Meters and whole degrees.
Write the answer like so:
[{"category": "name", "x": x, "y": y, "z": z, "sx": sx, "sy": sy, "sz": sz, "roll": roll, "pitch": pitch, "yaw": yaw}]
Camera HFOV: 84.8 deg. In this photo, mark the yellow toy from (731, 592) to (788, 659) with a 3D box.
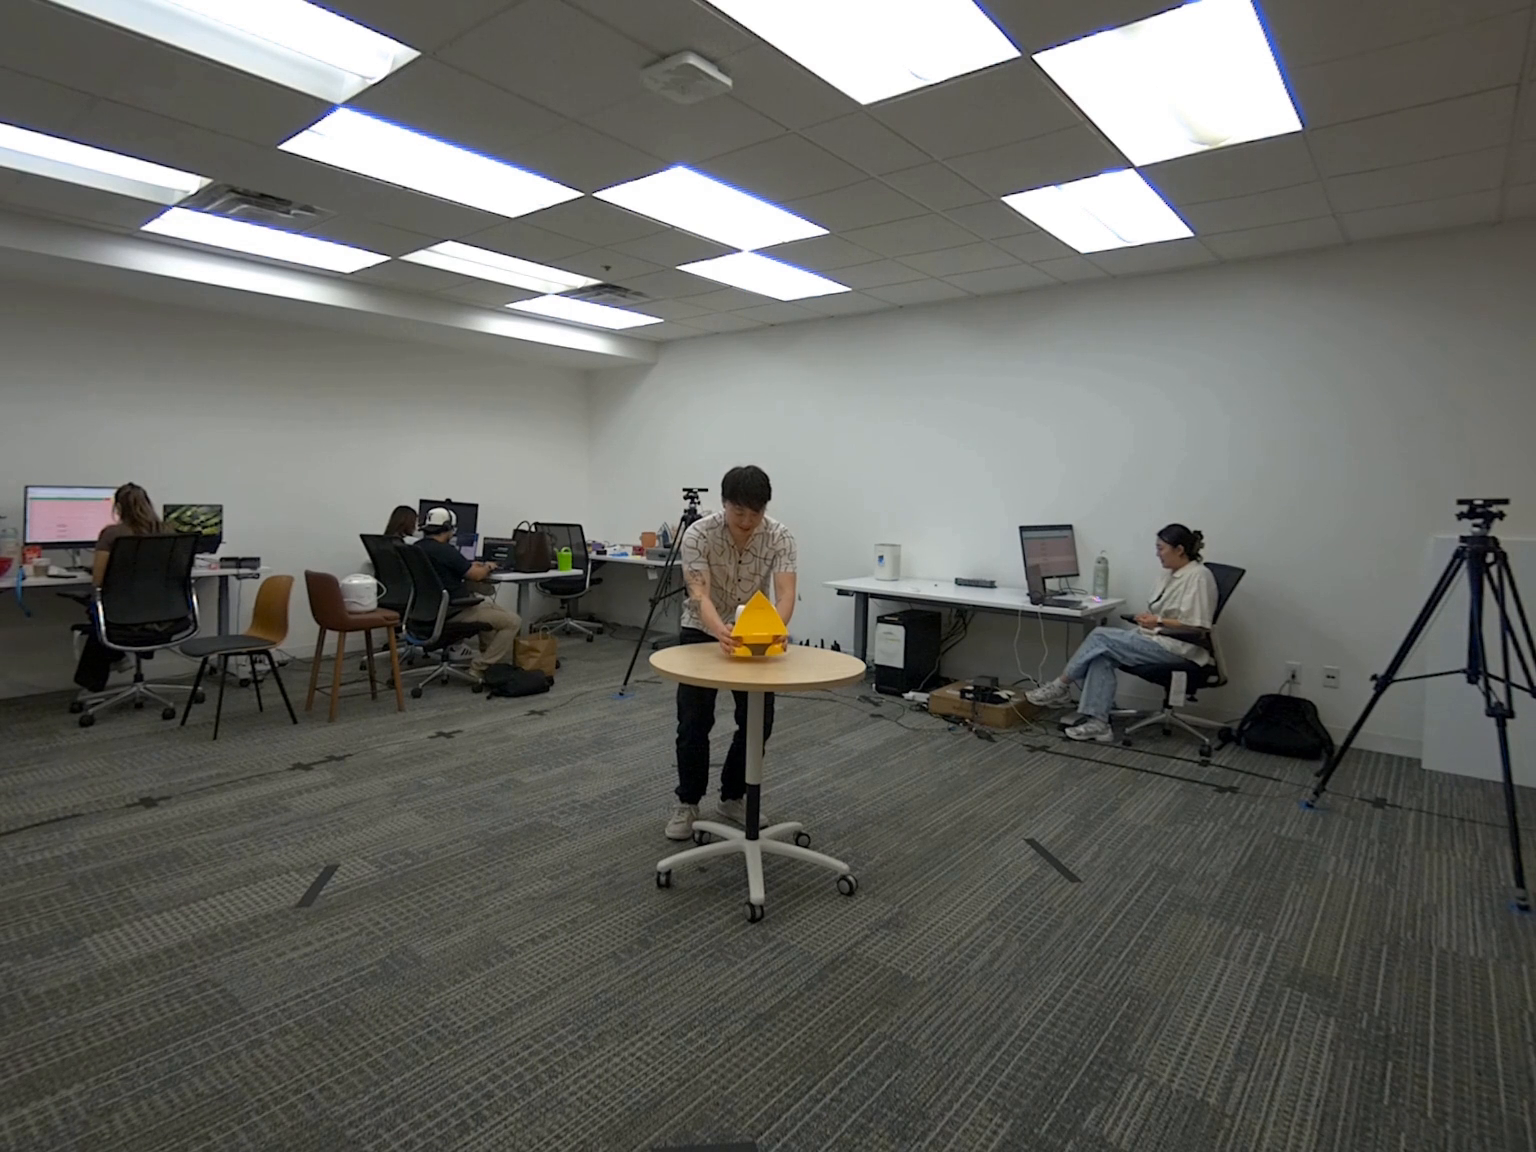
[{"category": "yellow toy", "x": -0.056, "y": 0.150, "z": 3.026, "sx": 0.203, "sy": 0.229, "sz": 0.196, "roll": -1, "pitch": 9, "yaw": -8}]
